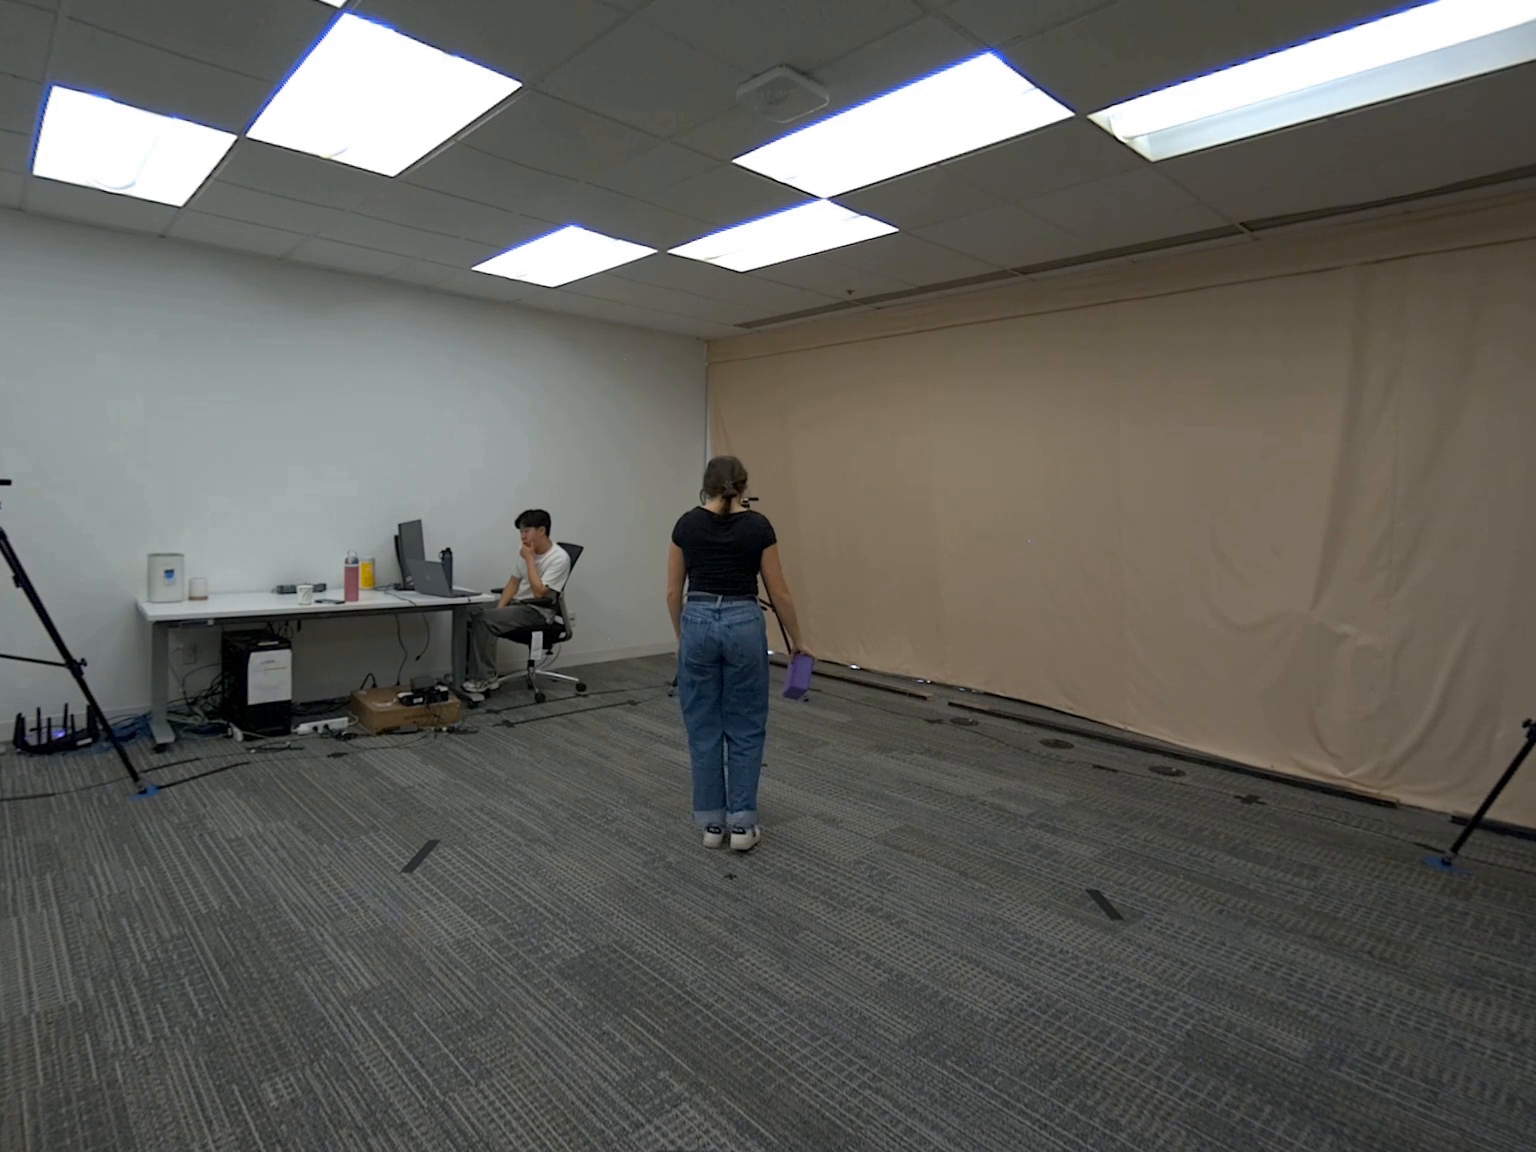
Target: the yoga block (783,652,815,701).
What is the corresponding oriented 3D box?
[{"bbox_3d":[0.109,0.421,3.549,0.076,0.150,0.227,13,-19,-5],"label":"yoga block"}]
